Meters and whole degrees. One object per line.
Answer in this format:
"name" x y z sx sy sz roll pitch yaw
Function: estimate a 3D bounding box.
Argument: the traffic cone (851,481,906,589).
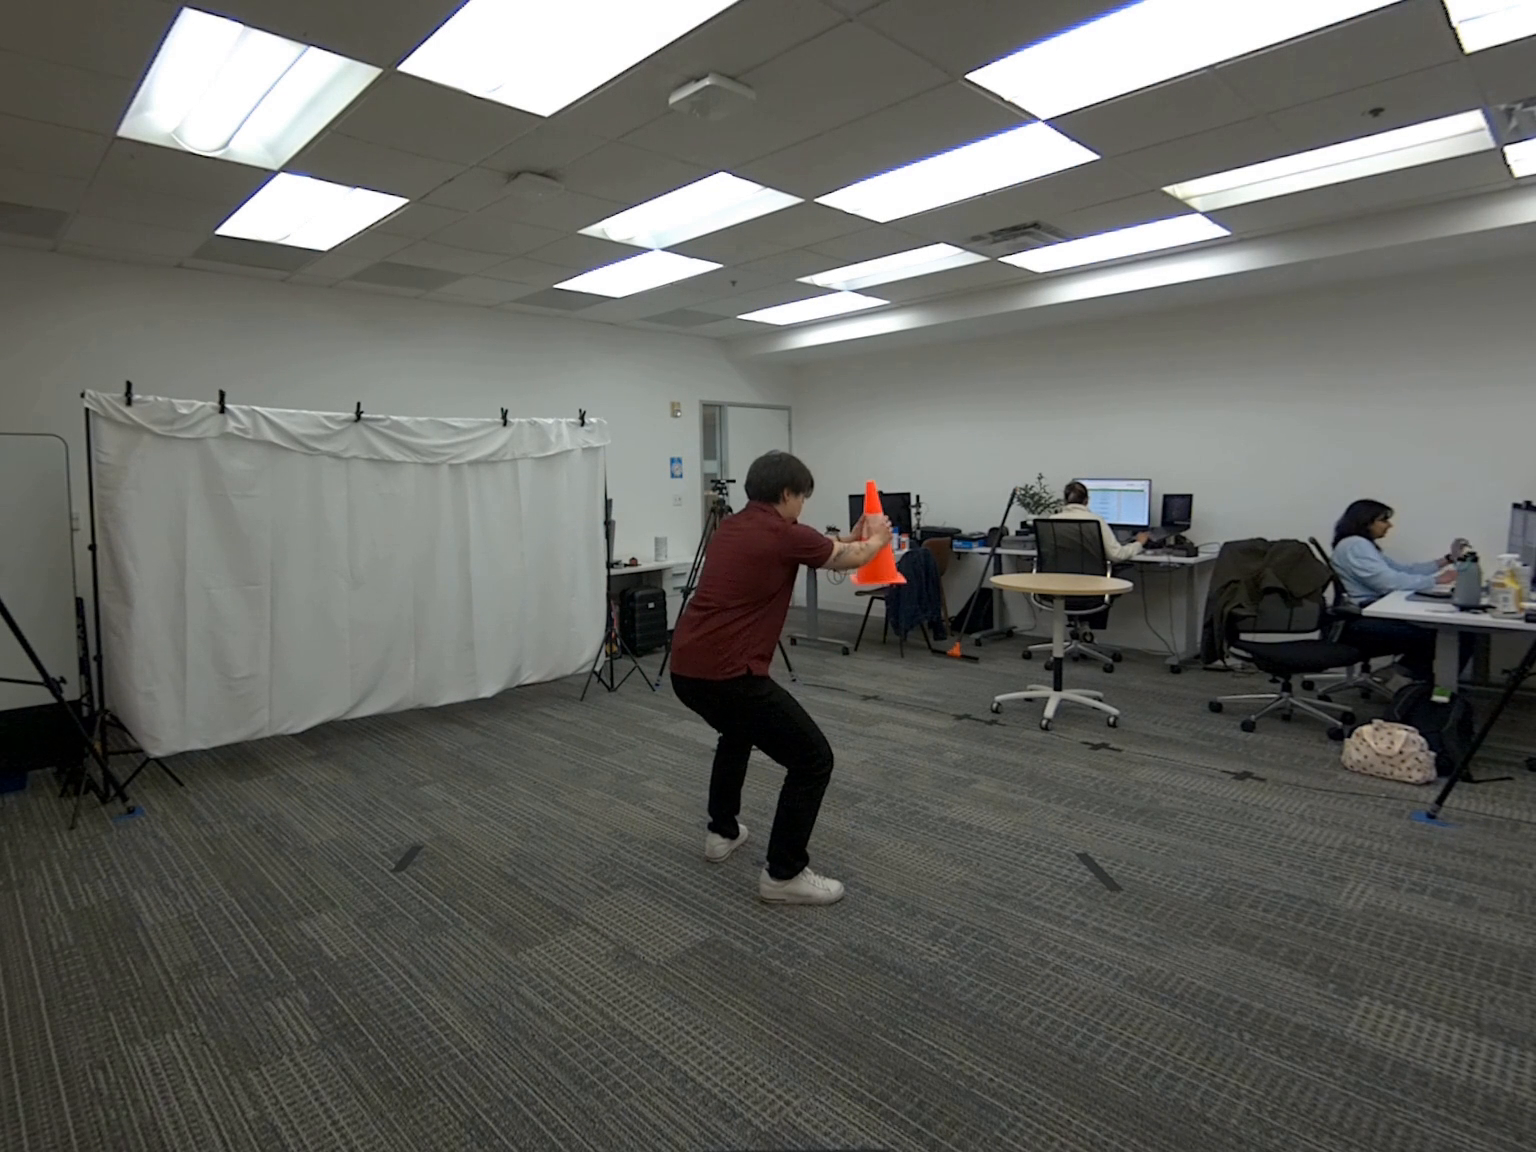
"traffic cone" 0.417 -0.168 3.292 0.200 0.380 0.210 -10 12 -32
